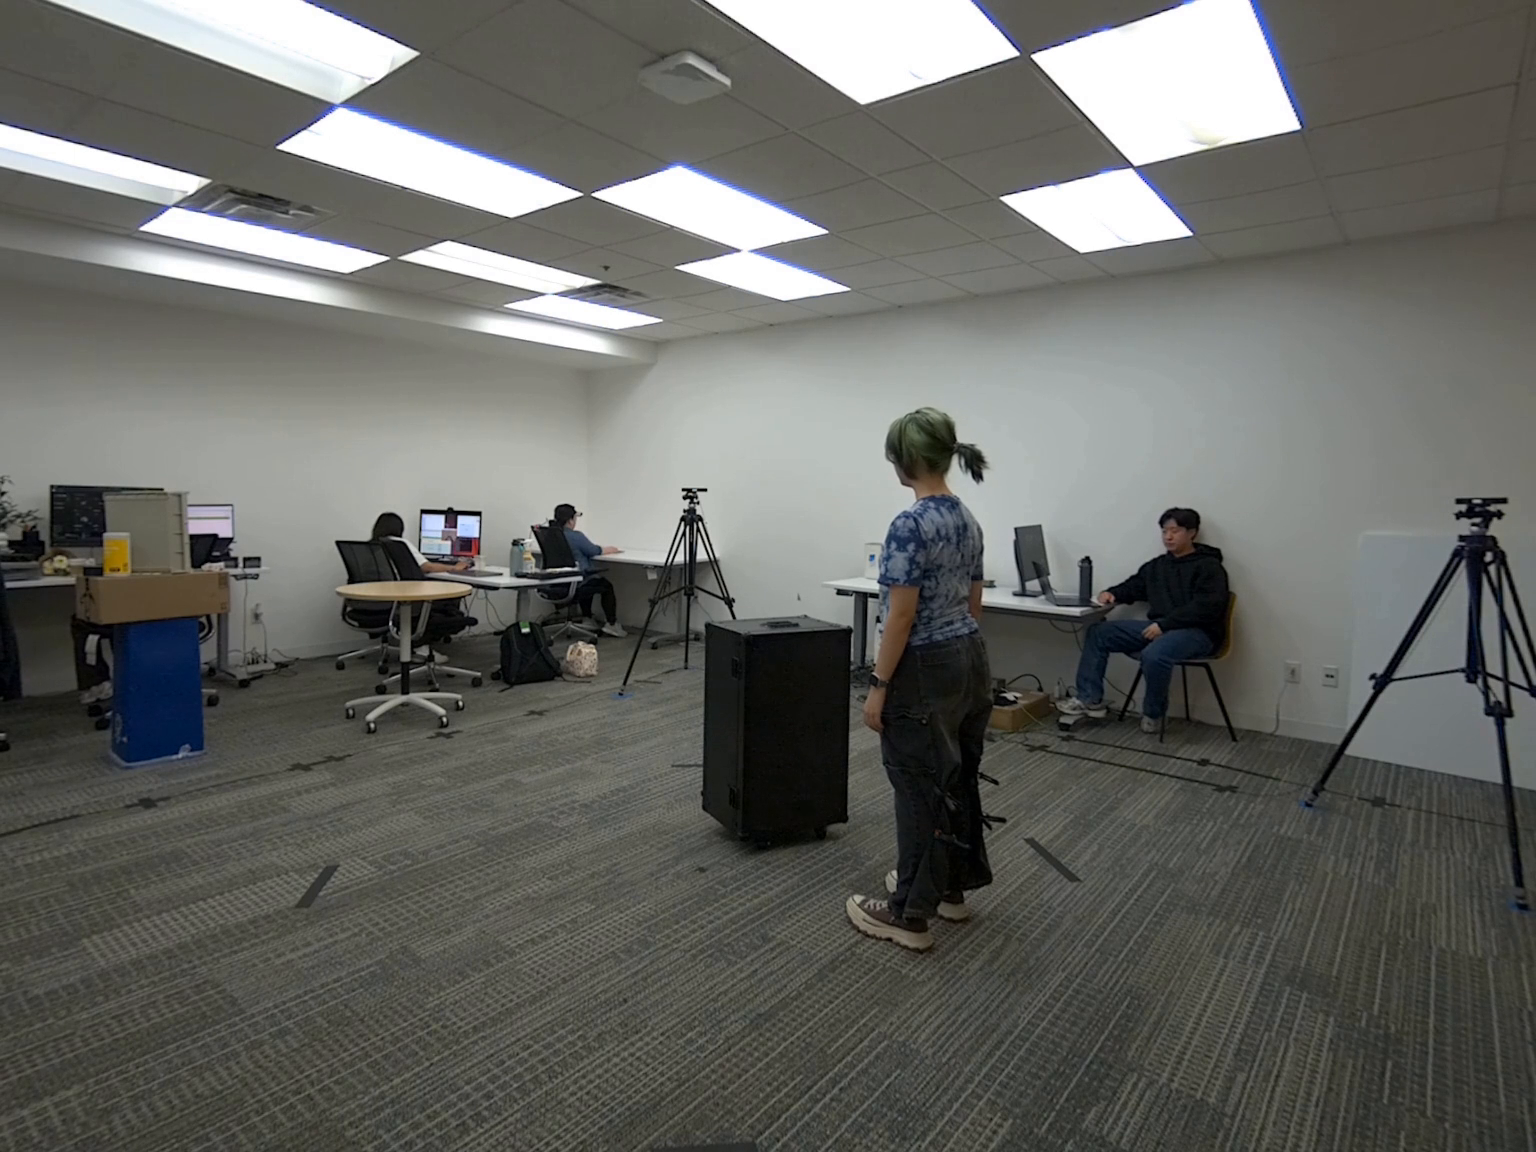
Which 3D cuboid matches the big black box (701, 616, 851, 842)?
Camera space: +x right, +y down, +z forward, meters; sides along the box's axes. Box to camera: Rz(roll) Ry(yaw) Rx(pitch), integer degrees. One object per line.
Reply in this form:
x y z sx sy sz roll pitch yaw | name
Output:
0.024 0.553 3.443 0.508 0.859 0.408 -1 3 -28 | big black box
